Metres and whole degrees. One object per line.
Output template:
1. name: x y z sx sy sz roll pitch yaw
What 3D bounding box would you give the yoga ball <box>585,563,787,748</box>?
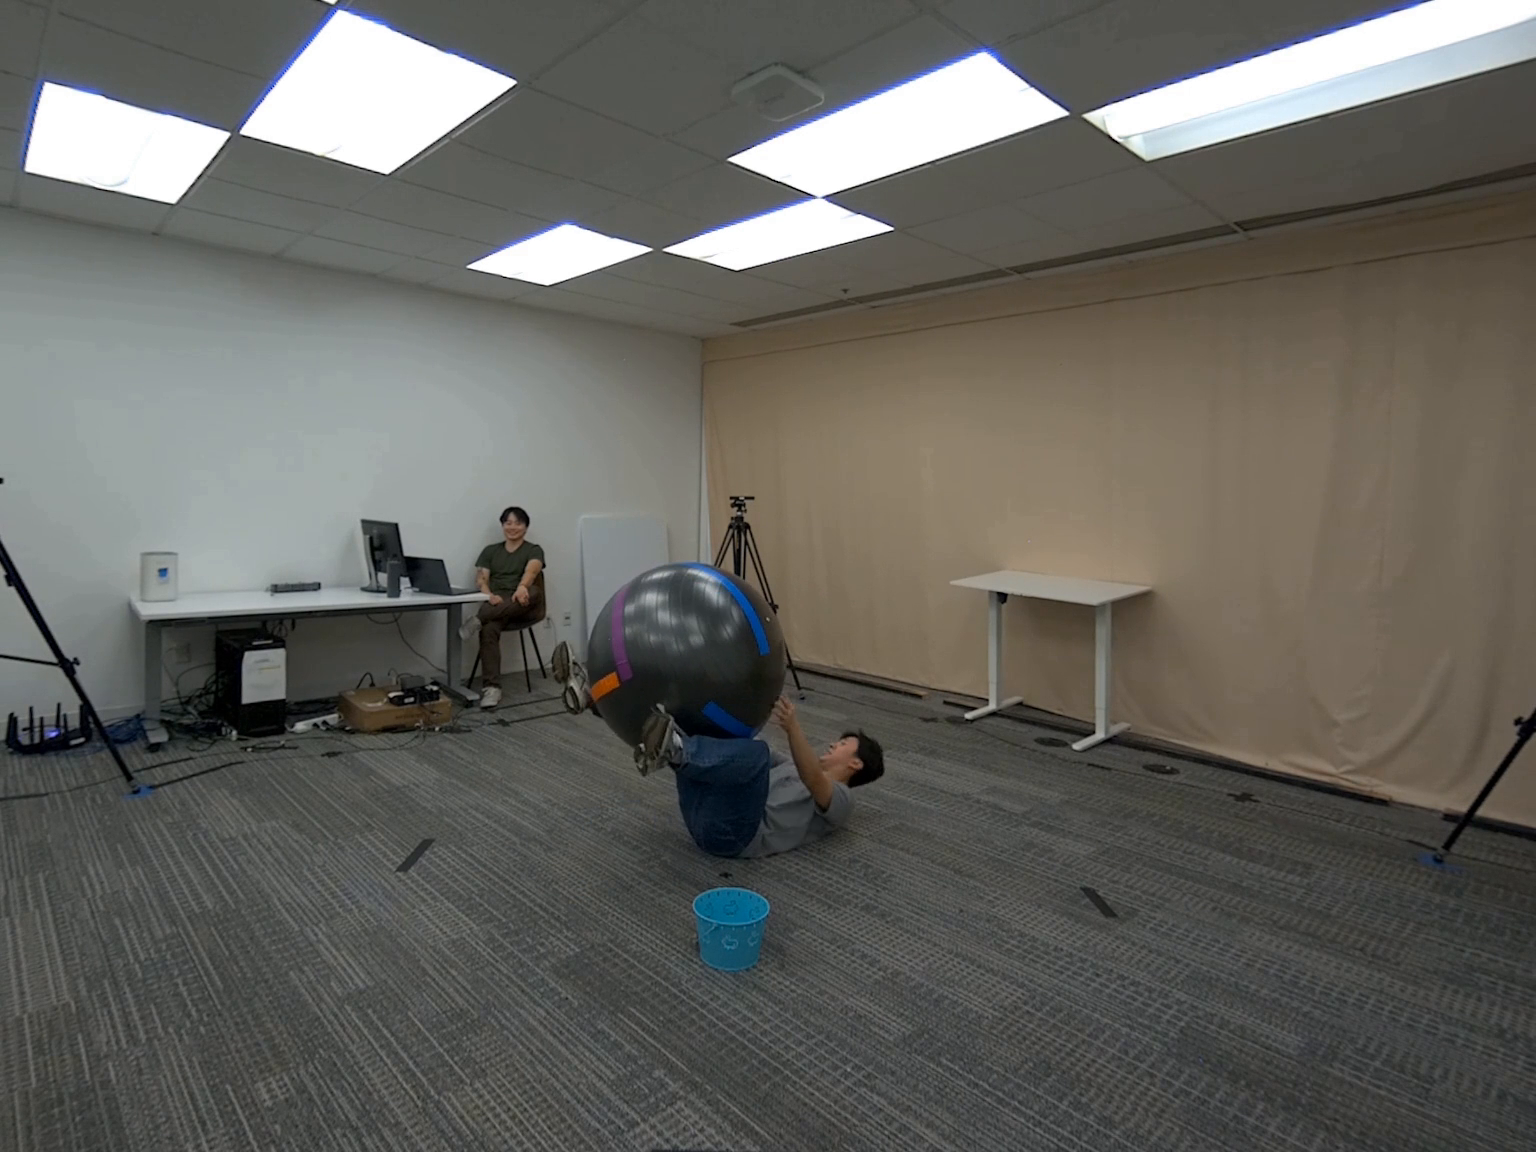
1. yoga ball: -0.325 0.332 3.213 0.757 0.756 0.761 1 4 -1
